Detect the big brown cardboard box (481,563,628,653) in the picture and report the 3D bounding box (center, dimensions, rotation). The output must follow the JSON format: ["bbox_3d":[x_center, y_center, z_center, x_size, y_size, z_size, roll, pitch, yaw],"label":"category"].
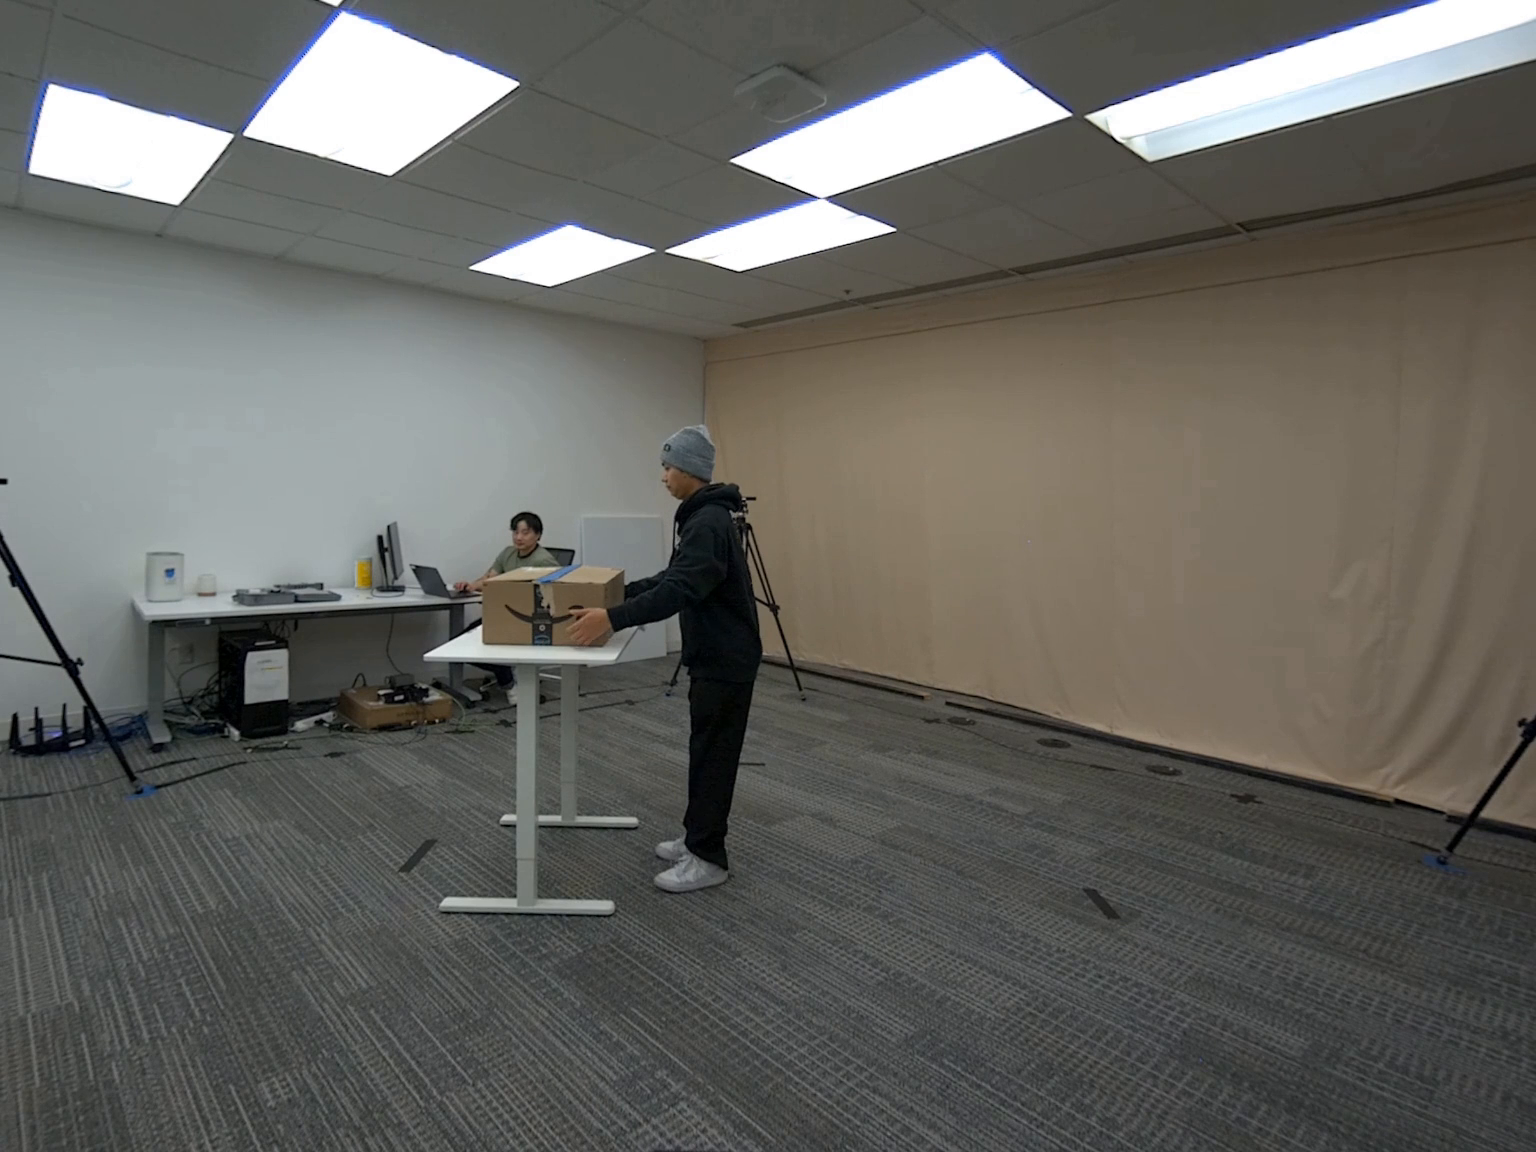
[{"bbox_3d":[-0.765,0.102,3.119,0.417,0.232,0.592,1,6,-2],"label":"big brown cardboard box"}]
